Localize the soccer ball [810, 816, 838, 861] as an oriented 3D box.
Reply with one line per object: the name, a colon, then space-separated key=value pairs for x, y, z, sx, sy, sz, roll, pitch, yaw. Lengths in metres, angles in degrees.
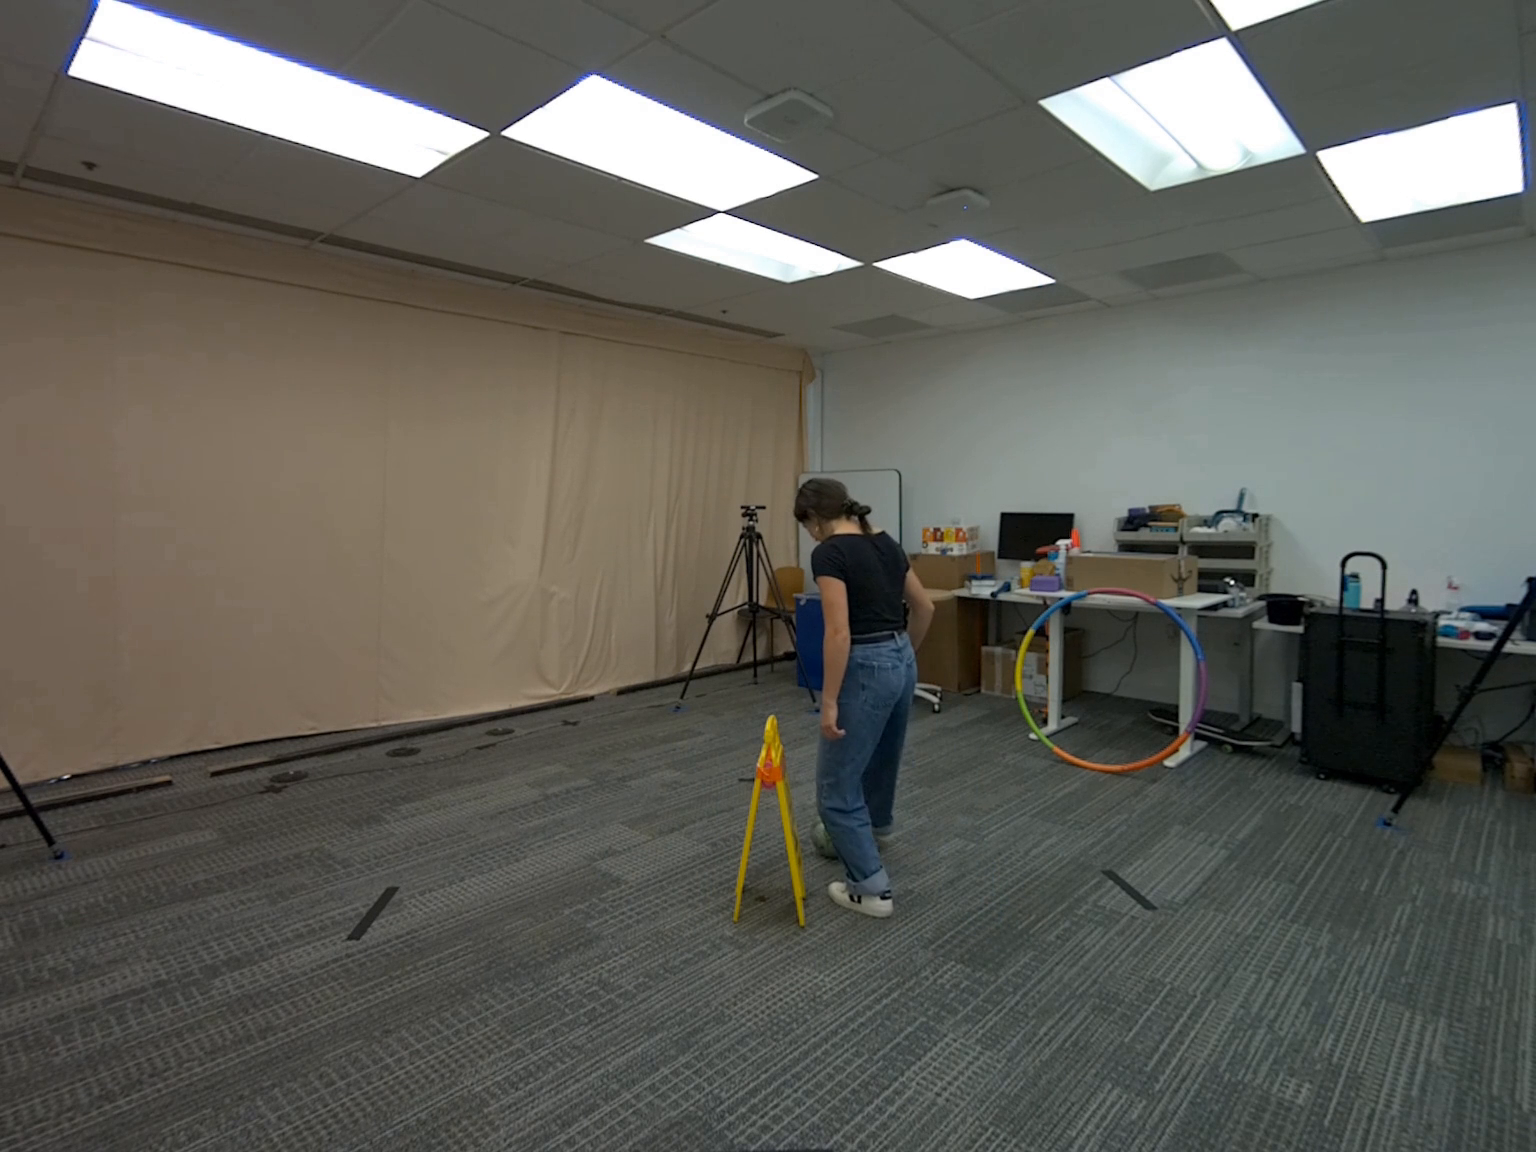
soccer ball: x=0.269 y=1.026 z=3.336 sx=0.187 sy=0.187 sz=0.188 roll=0 pitch=4 yaw=-2
